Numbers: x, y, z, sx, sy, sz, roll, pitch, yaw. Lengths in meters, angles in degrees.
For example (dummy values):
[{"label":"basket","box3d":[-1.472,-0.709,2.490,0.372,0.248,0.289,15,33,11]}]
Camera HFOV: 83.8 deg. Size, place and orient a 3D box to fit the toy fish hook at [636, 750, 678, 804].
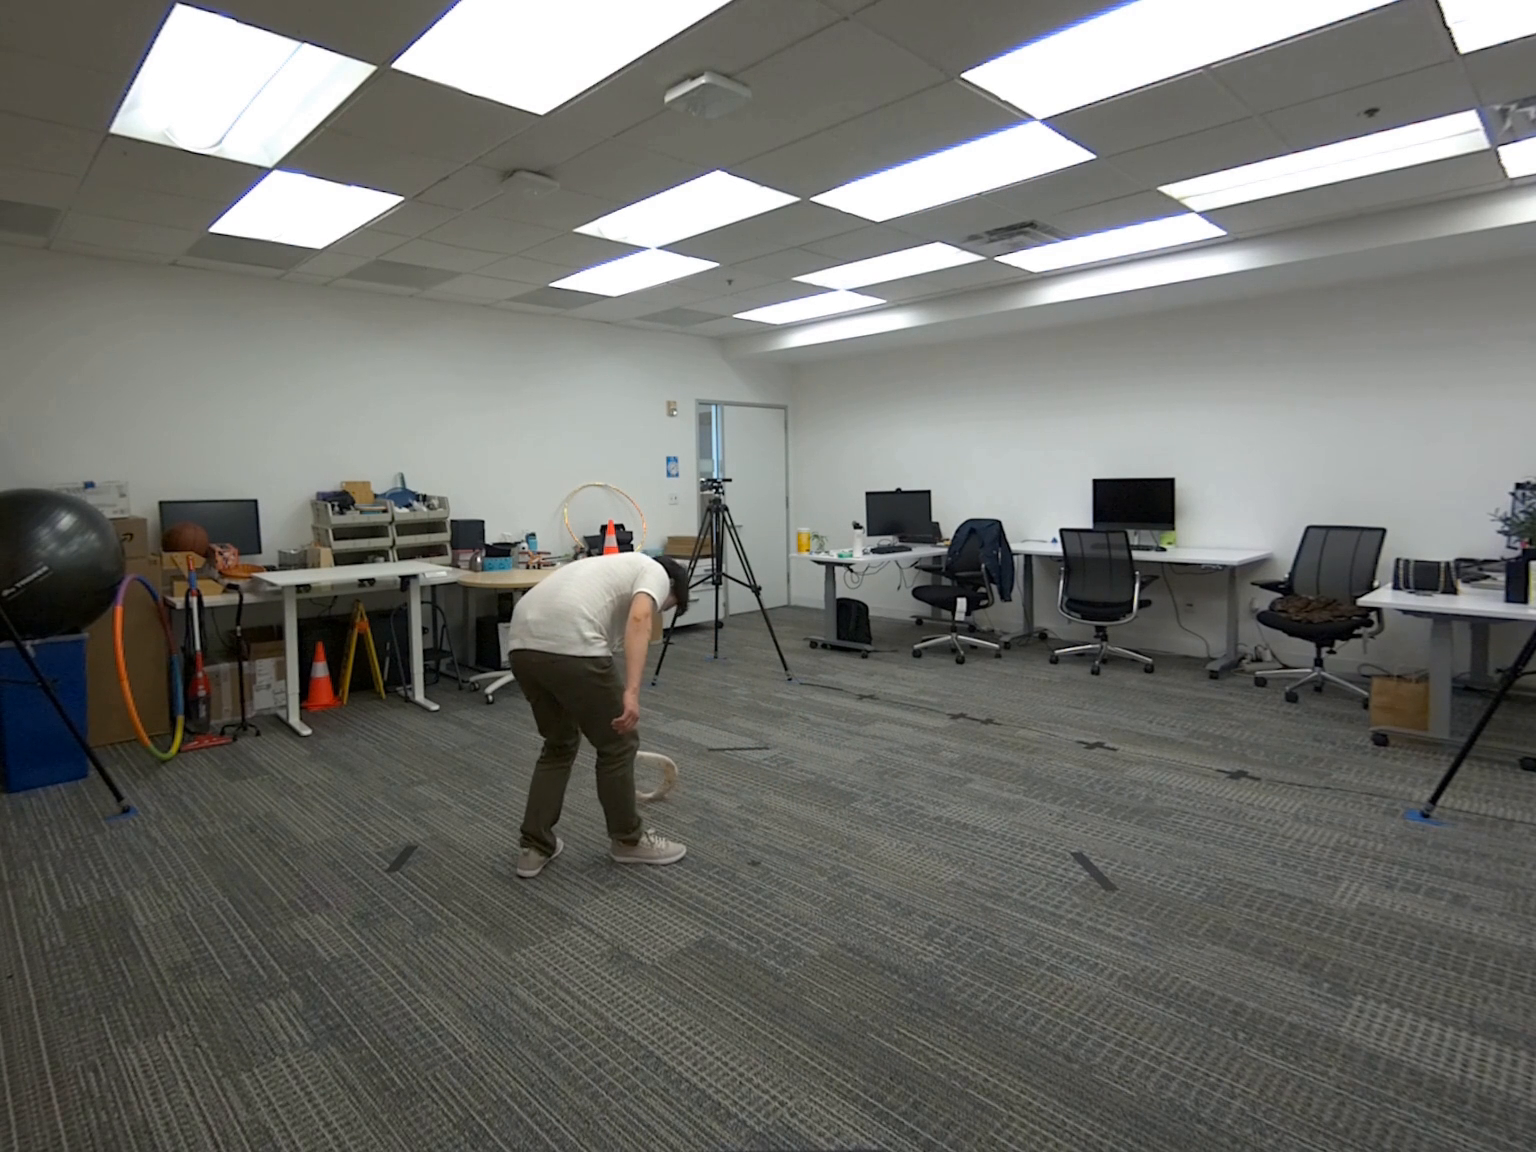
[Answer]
[{"label":"toy fish hook","box3d":[-0.598,0.816,3.637,0.489,0.225,0.050,35,-7,-31]}]
